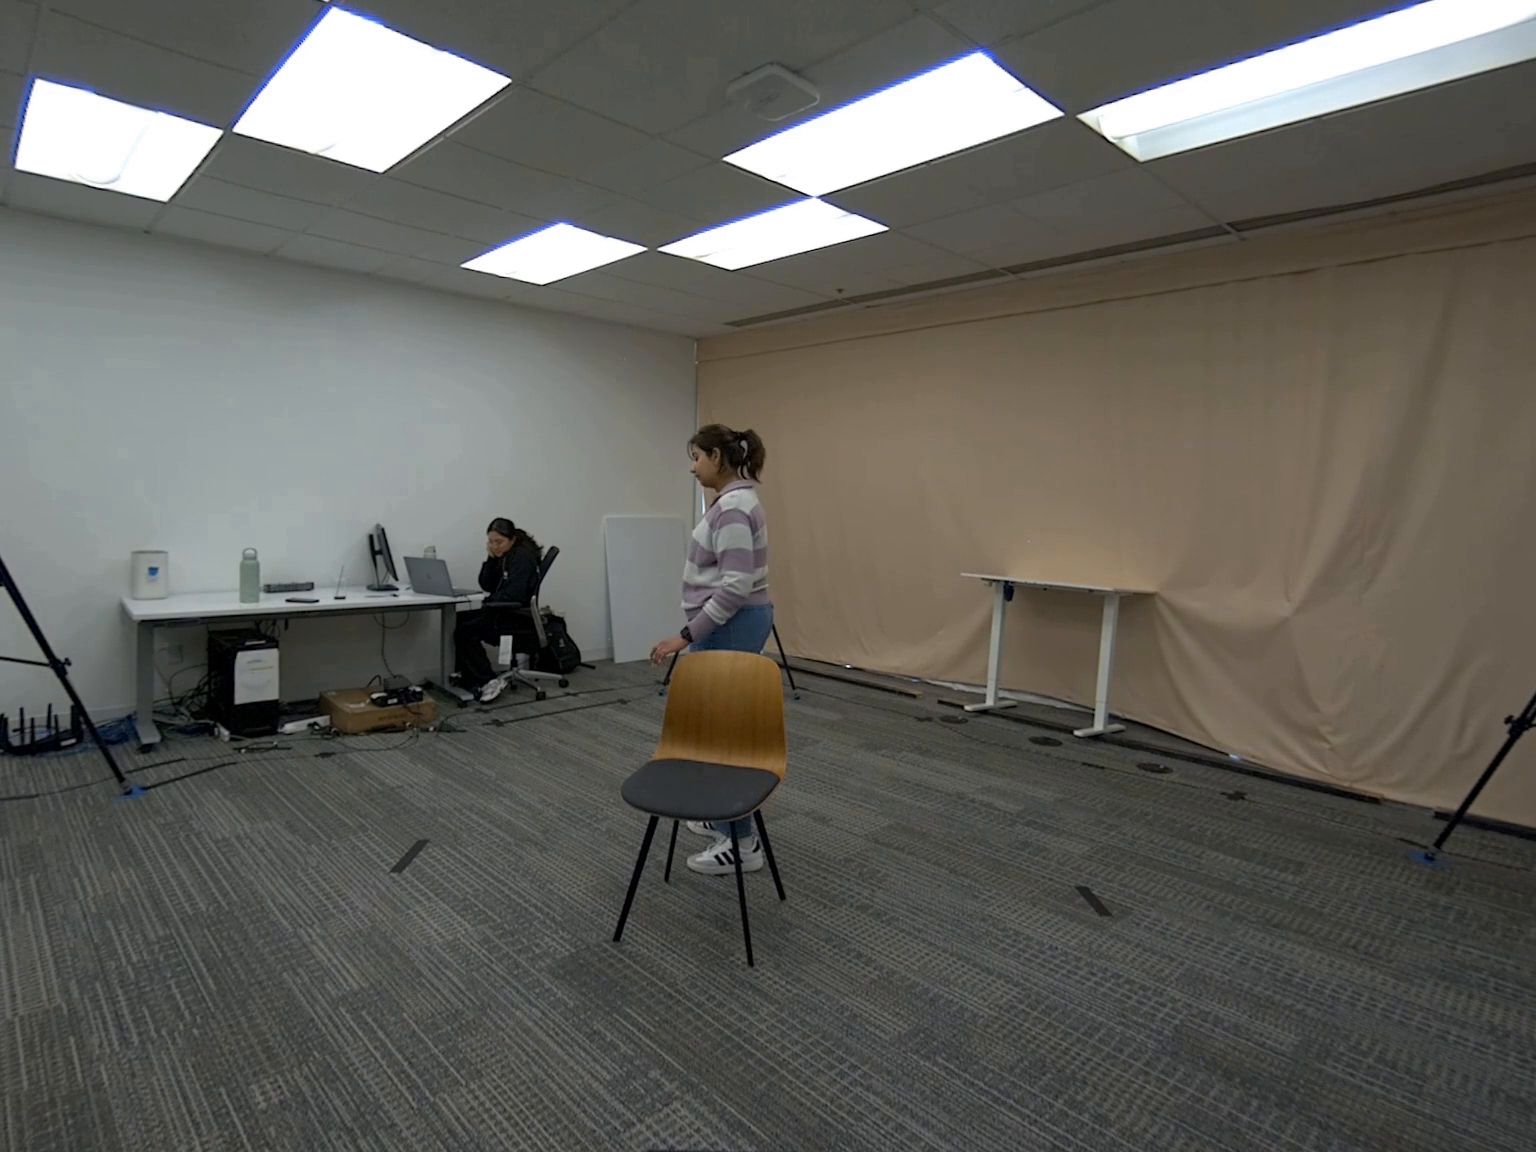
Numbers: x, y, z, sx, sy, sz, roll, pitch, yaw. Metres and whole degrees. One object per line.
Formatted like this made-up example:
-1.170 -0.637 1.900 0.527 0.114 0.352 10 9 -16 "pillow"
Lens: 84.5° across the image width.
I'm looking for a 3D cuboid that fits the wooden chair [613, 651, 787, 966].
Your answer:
-0.208 0.710 2.730 0.484 0.878 0.516 2 0 15 "wooden chair"
